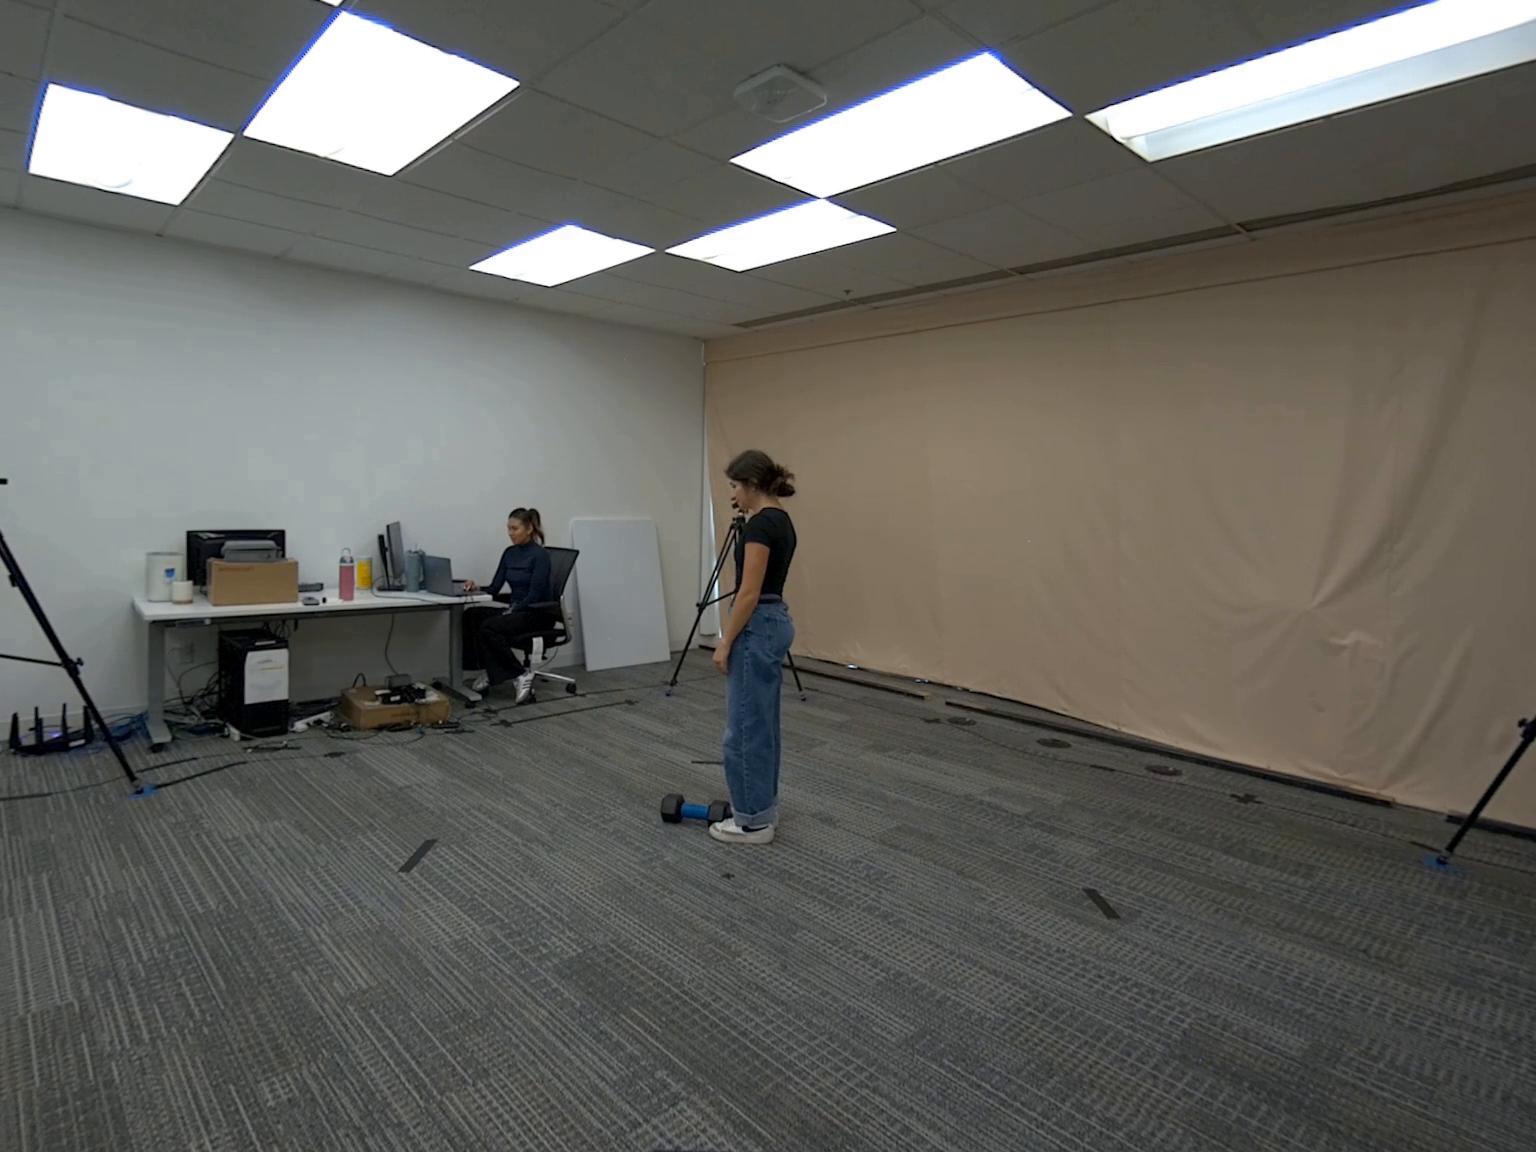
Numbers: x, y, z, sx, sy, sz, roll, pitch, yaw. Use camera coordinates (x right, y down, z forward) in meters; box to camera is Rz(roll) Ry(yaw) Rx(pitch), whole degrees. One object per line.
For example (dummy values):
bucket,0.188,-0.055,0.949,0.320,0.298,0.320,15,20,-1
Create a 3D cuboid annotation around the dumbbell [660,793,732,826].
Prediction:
dumbbell,-0.320,1.009,3.595,0.298,0.124,0.106,3,-25,17
